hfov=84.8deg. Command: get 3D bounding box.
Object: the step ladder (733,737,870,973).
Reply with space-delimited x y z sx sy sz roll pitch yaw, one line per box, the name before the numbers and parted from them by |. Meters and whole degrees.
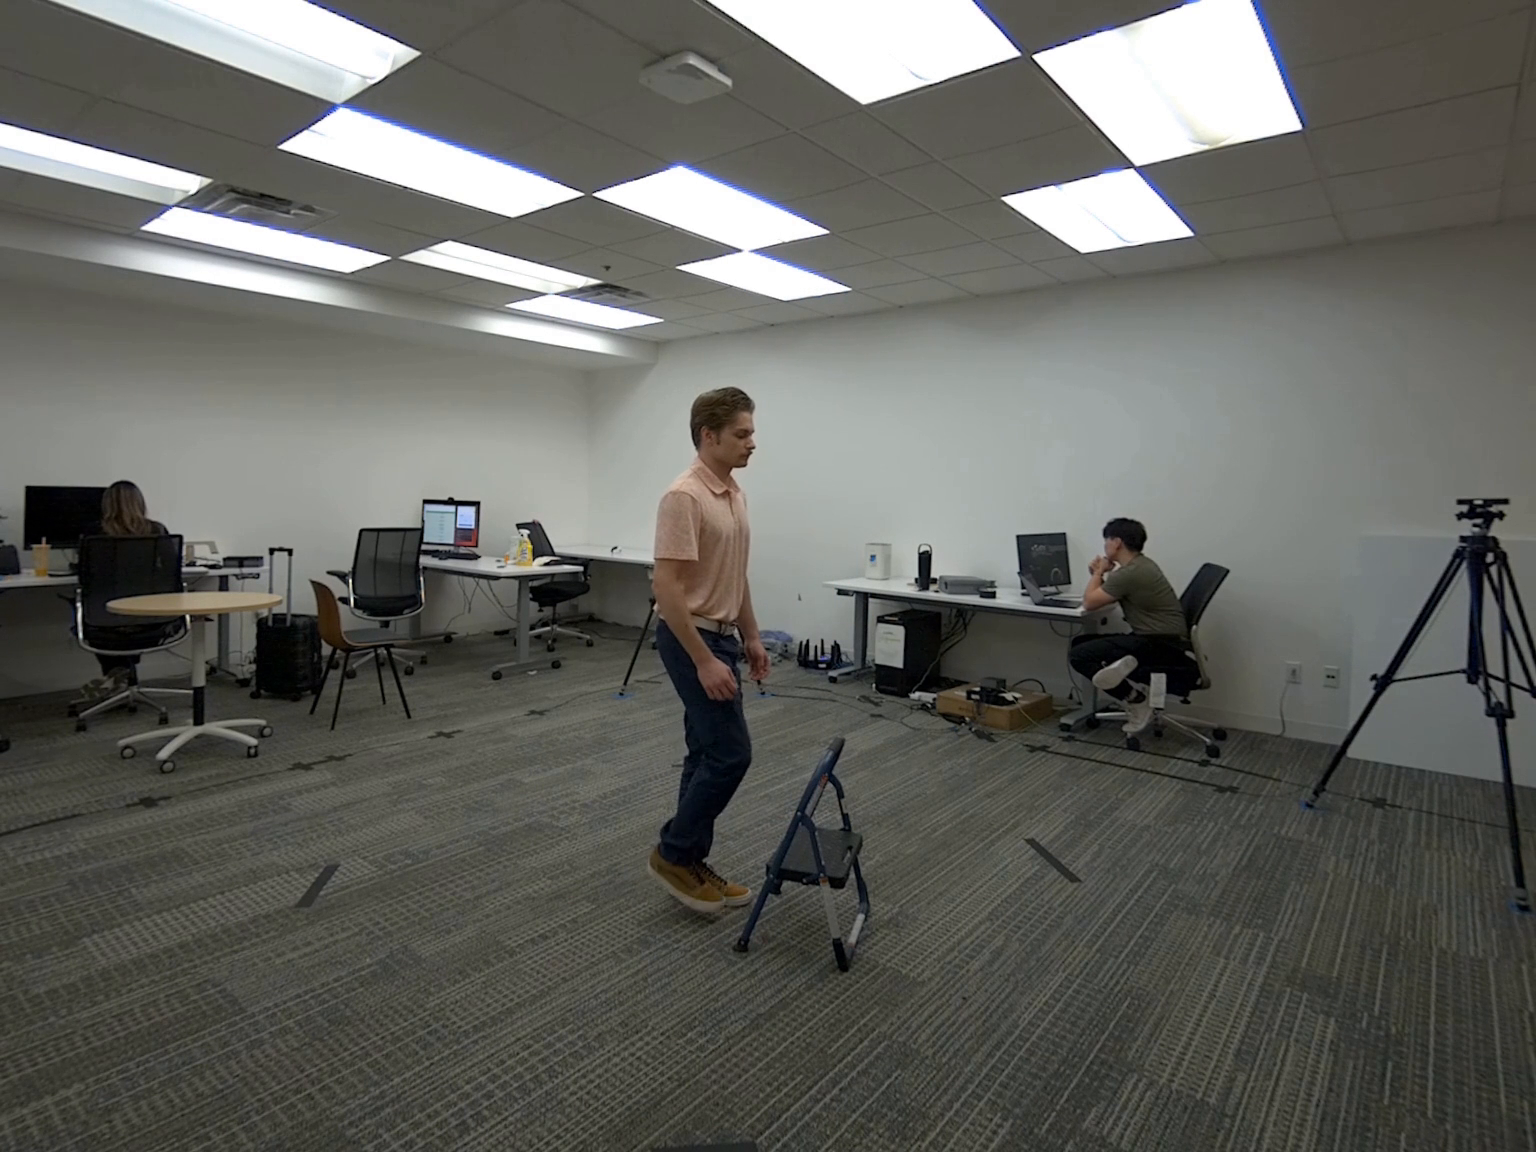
step ladder | 0.125 0.815 2.686 0.356 0.604 0.424 3 4 17
